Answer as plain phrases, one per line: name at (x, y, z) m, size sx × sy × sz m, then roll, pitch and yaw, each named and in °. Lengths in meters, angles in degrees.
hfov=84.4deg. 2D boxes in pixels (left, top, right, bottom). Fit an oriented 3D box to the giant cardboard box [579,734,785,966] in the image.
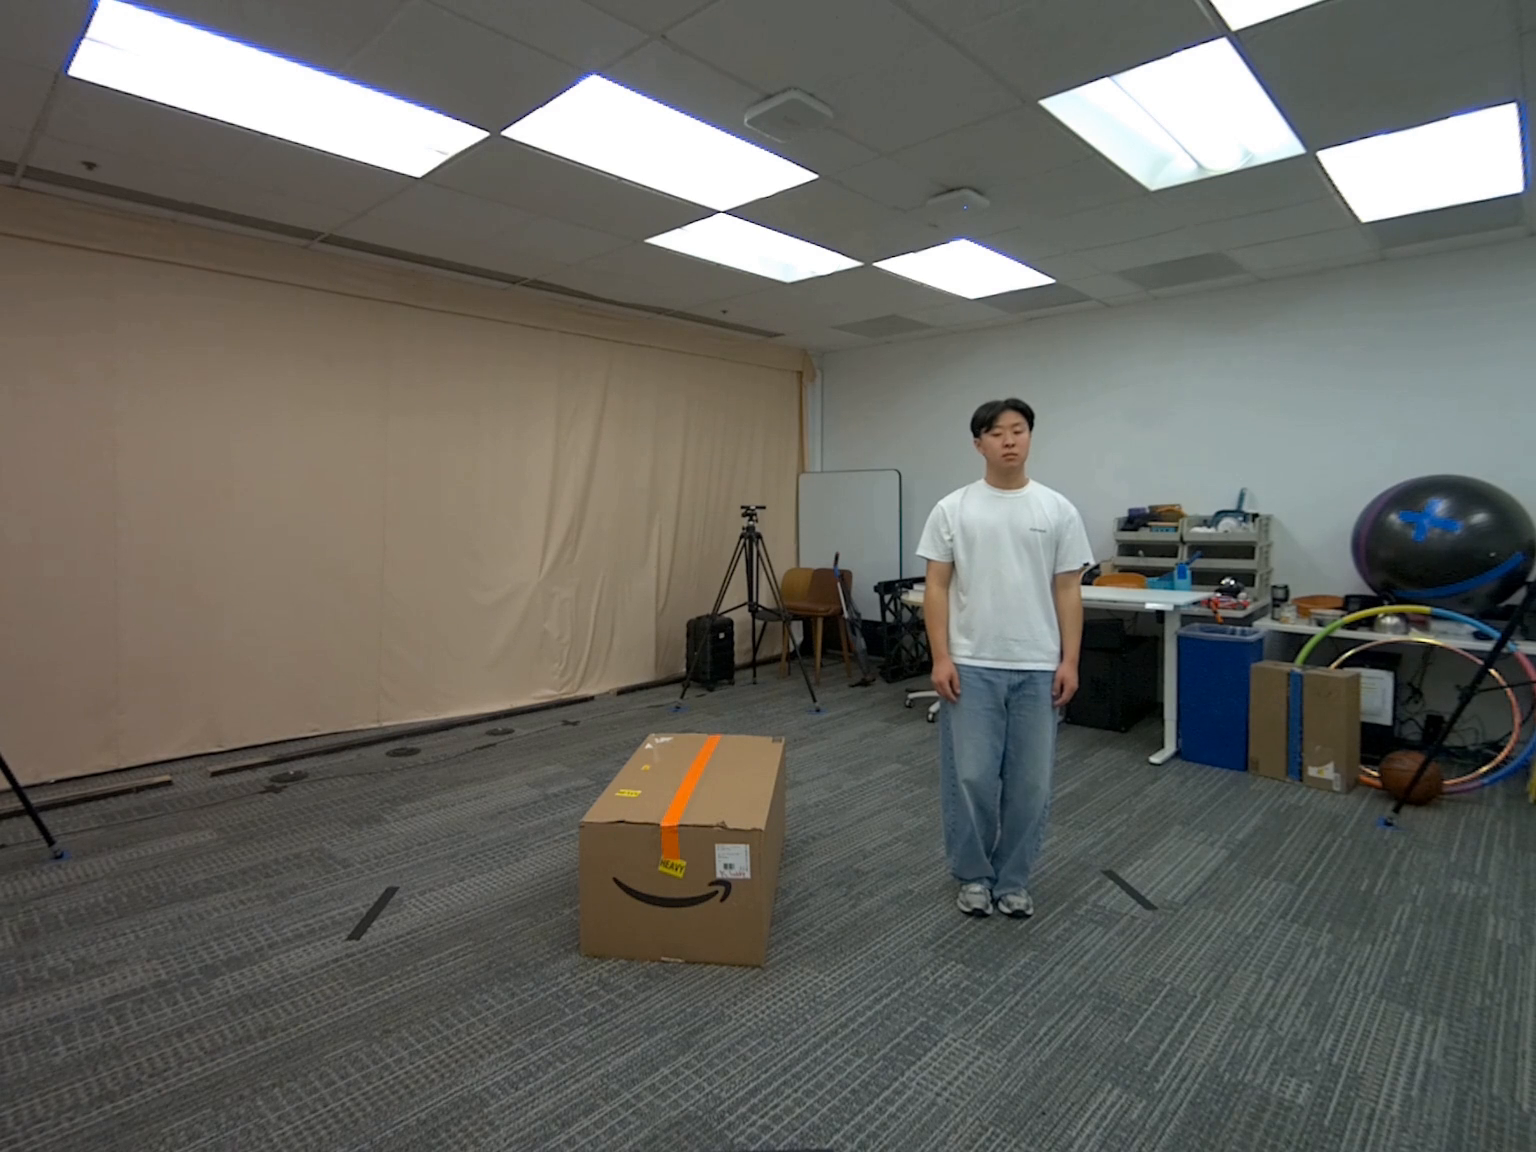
giant cardboard box at (-0.253, 0.919, 3.060) m, size 0.581 × 0.425 × 1.021 m, roll 0°, pitch 4°, yaw 5°
